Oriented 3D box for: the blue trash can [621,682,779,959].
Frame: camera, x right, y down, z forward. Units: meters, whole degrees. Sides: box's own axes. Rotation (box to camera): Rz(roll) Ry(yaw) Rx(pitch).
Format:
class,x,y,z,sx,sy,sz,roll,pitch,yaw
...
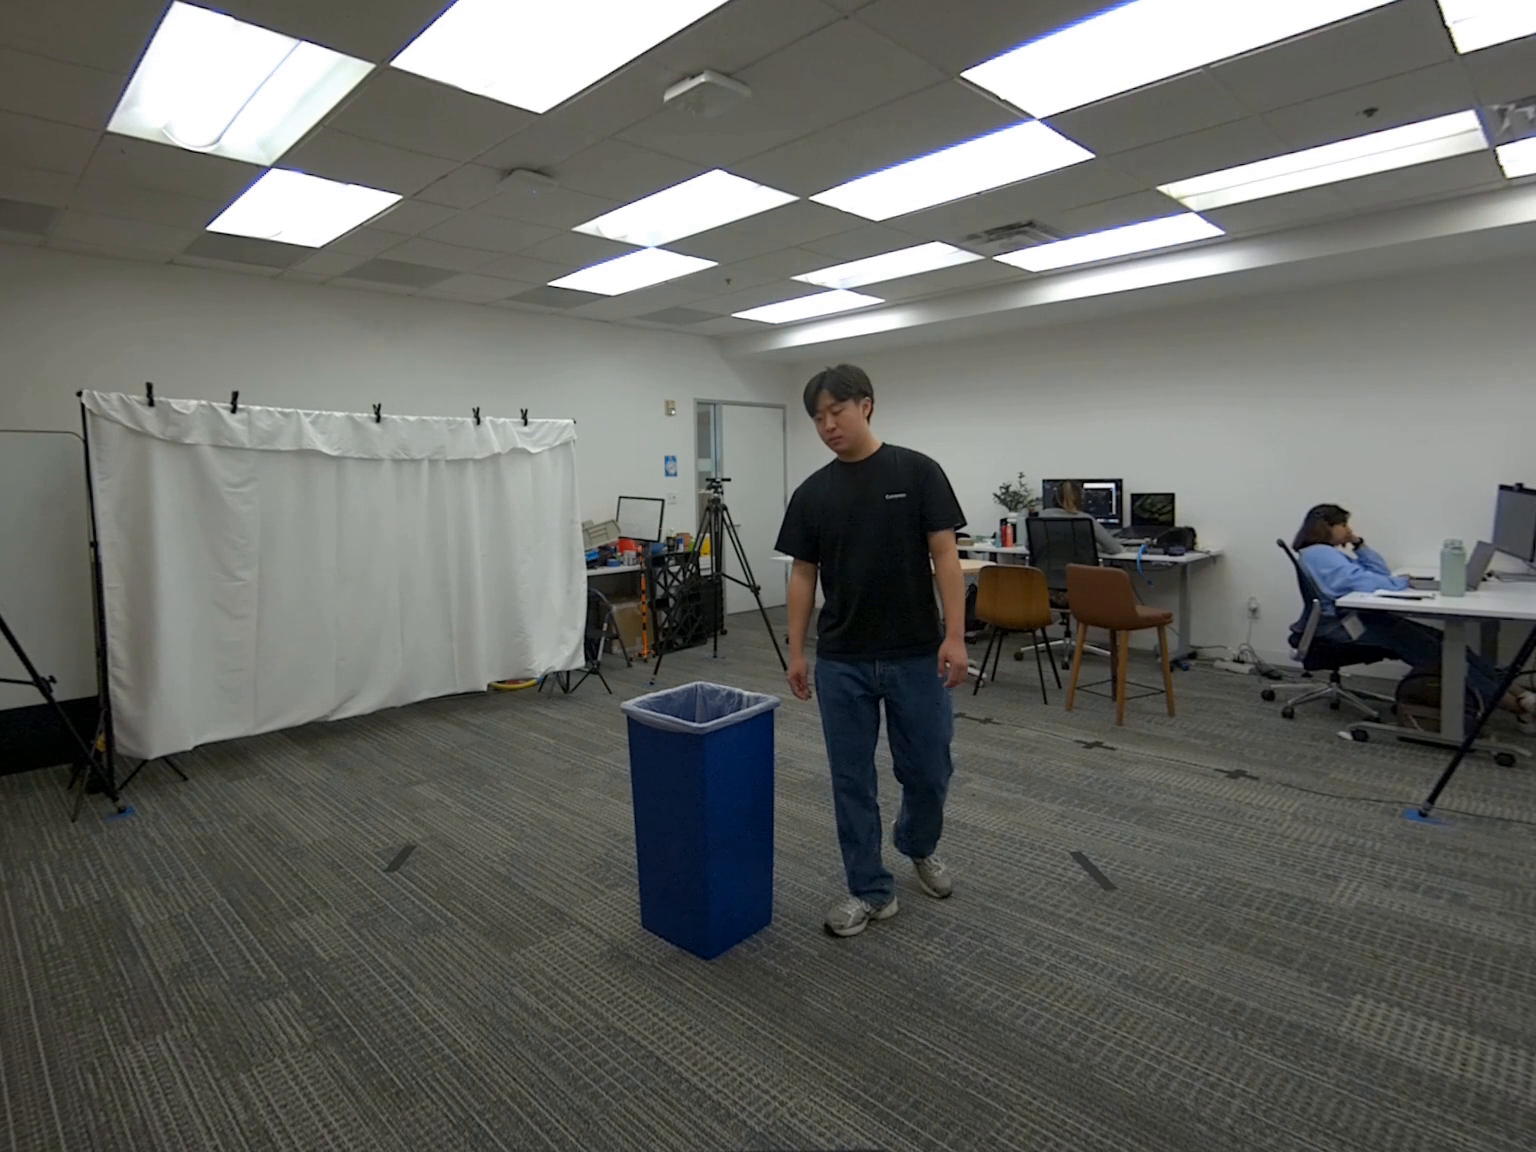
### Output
class,x,y,z,sx,sy,sz,roll,pitch,yaw
blue trash can,-0.194,0.738,2.653,0.389,0.711,0.364,2,5,41
